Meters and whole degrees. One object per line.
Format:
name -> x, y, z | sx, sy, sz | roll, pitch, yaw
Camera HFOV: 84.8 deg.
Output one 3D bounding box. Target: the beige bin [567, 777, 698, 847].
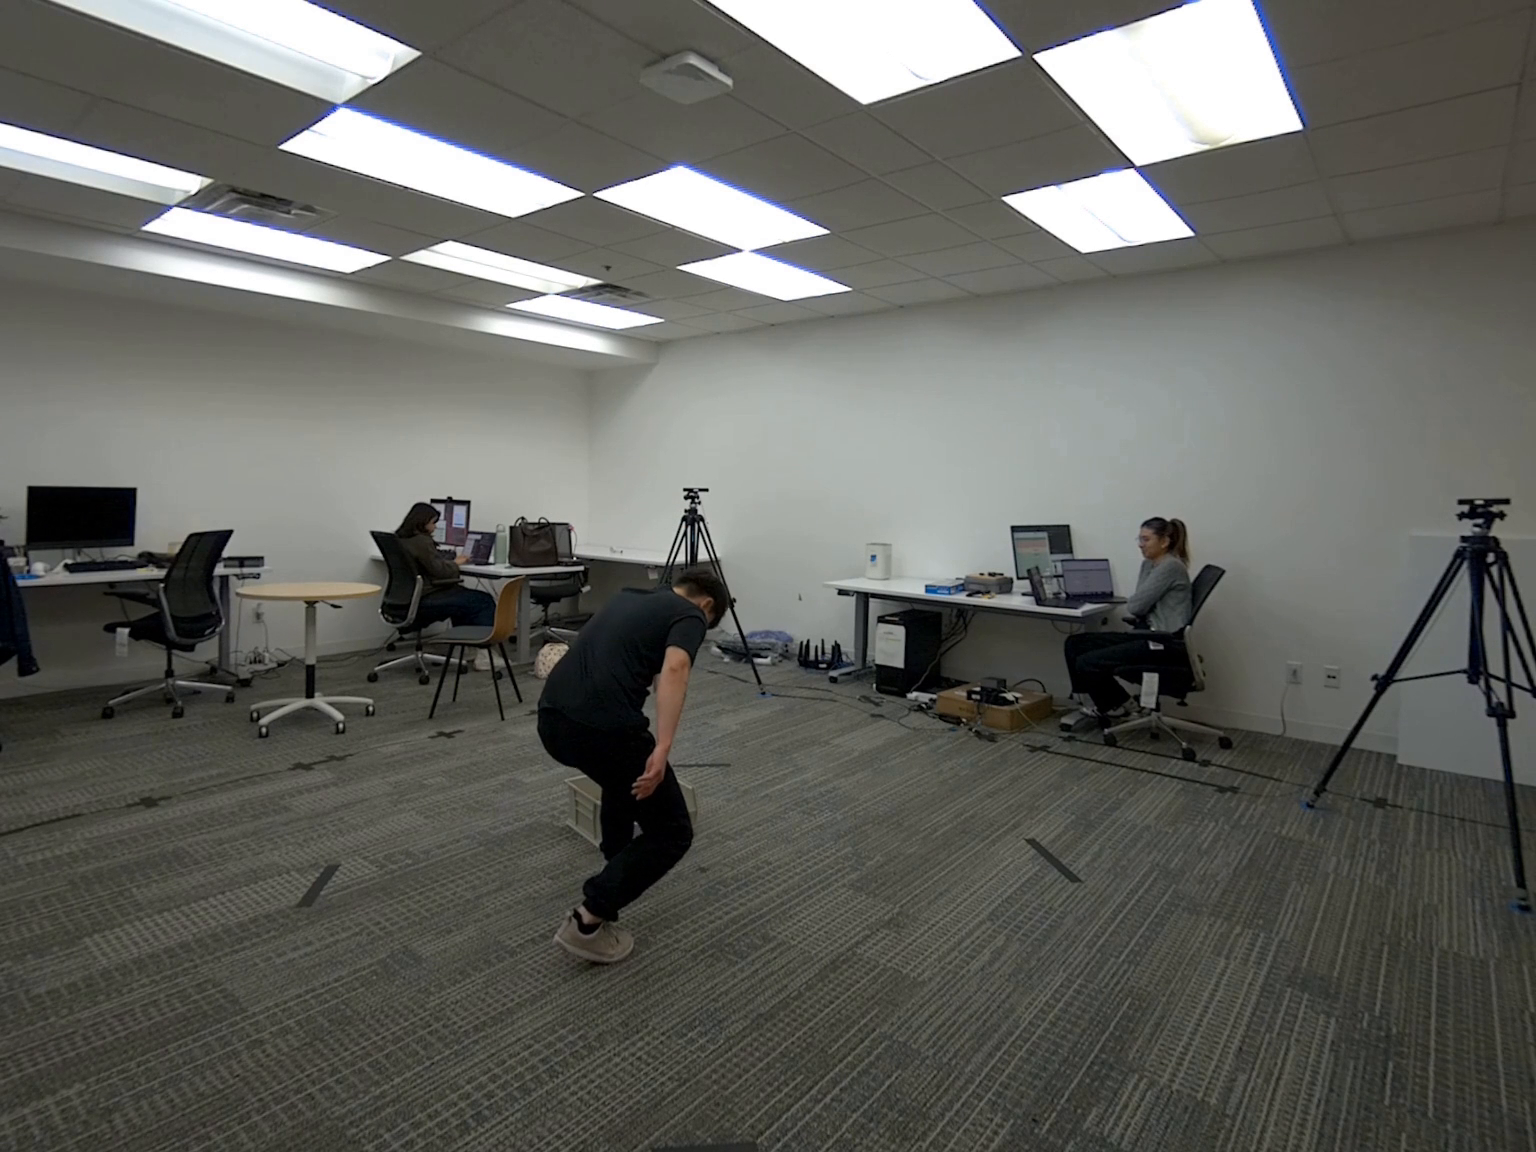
beige bin -> -0.571, 0.937, 3.483 | 0.410, 0.188, 0.390 | -4, 6, -36
